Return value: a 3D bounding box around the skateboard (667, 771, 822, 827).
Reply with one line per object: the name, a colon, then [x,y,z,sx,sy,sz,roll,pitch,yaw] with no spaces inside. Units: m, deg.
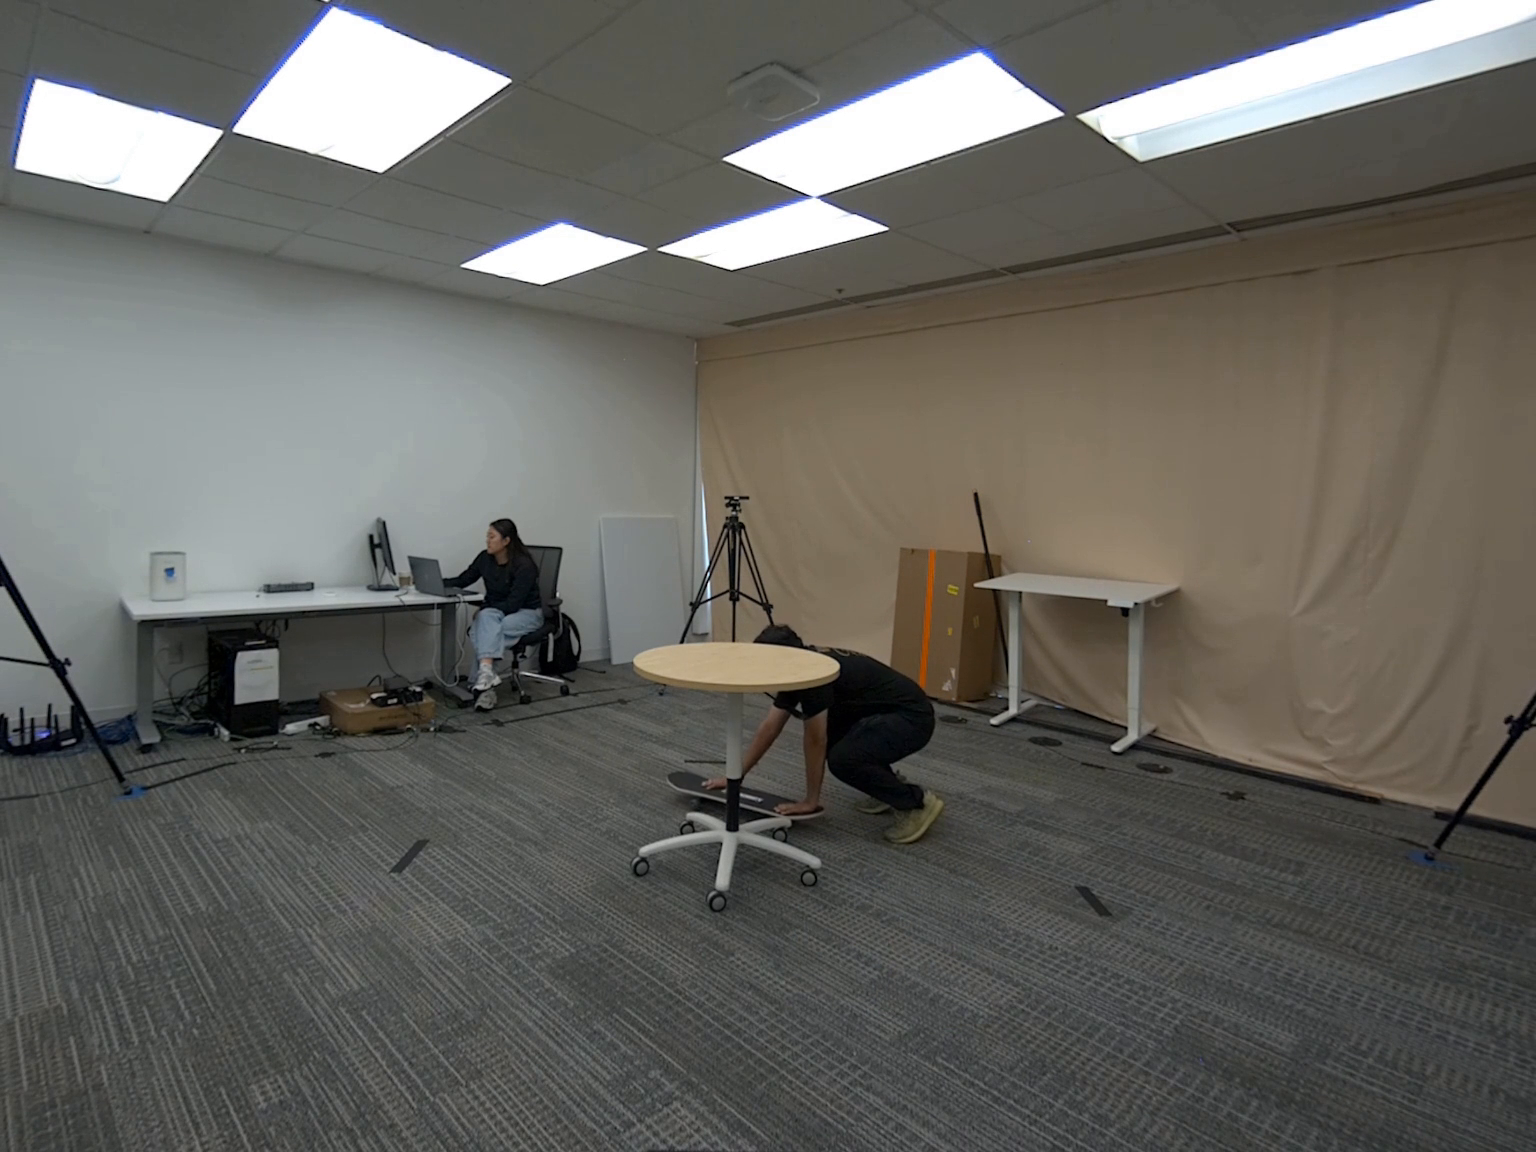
skateboard: [-0.124,0.993,3.700,0.804,0.110,0.189,5,5,34]
